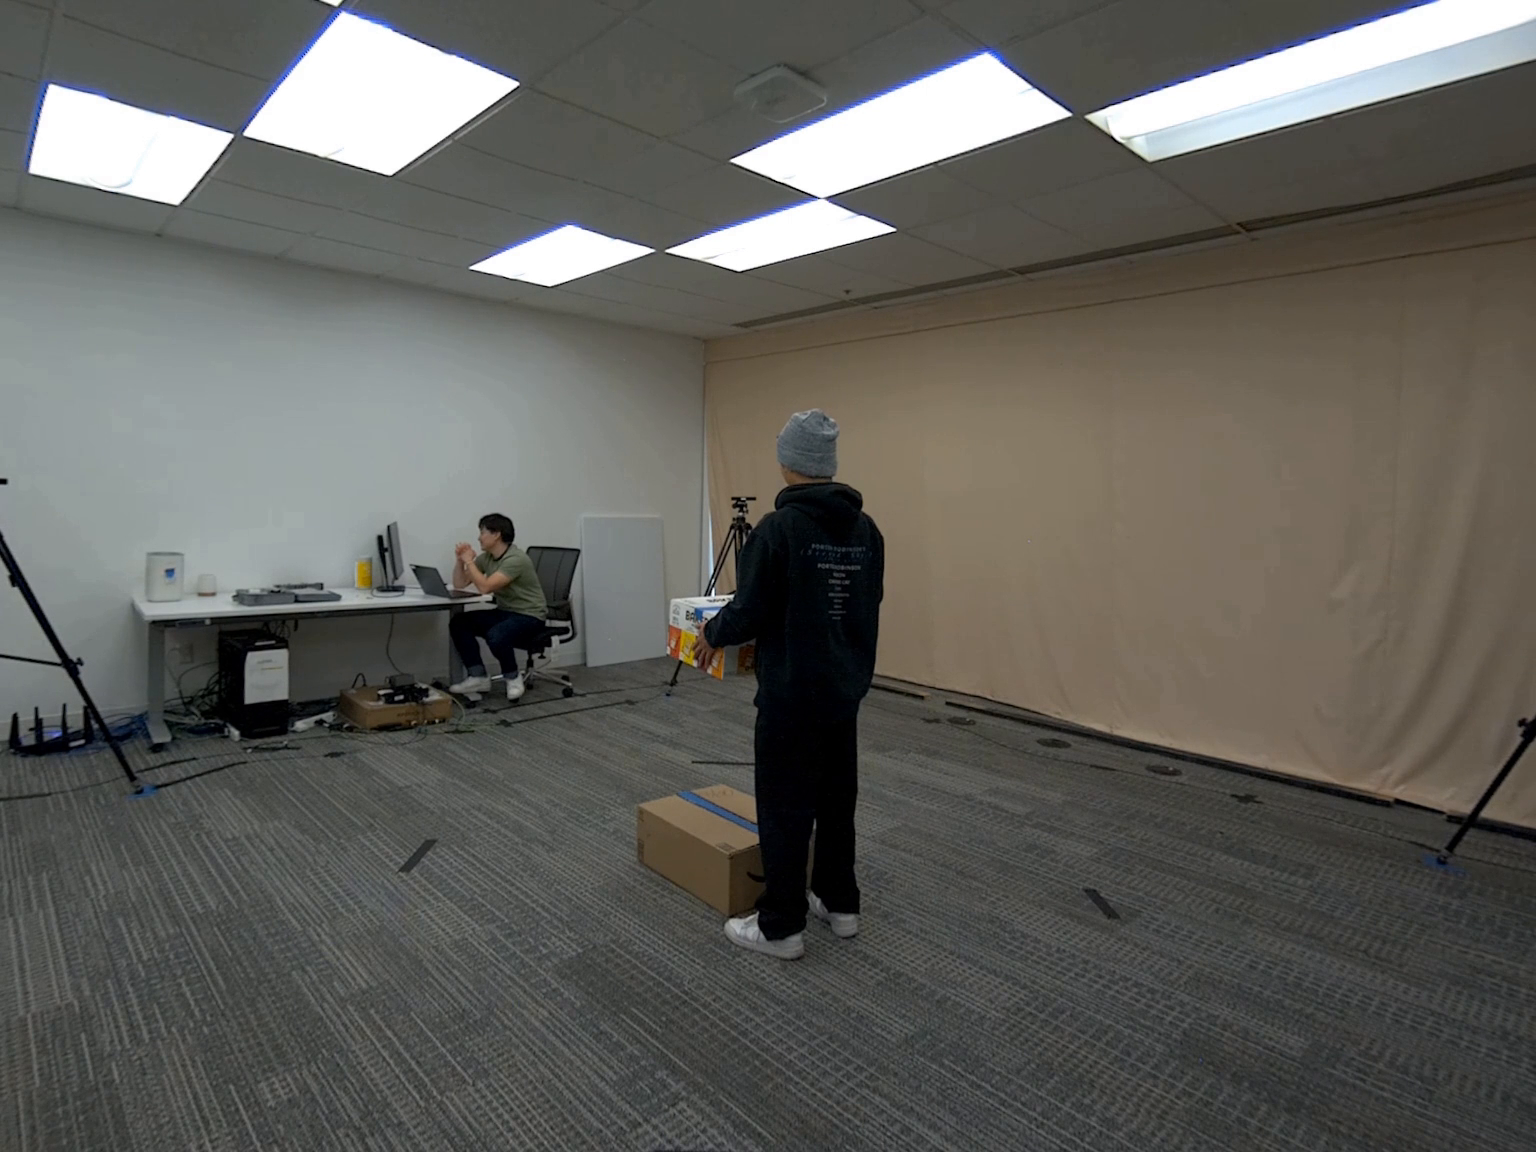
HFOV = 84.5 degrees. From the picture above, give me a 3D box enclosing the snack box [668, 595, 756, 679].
[{"bbox_3d":[-0.104,0.207,3.027,0.396,0.204,0.350,-3,13,-39],"label":"snack box"}]
